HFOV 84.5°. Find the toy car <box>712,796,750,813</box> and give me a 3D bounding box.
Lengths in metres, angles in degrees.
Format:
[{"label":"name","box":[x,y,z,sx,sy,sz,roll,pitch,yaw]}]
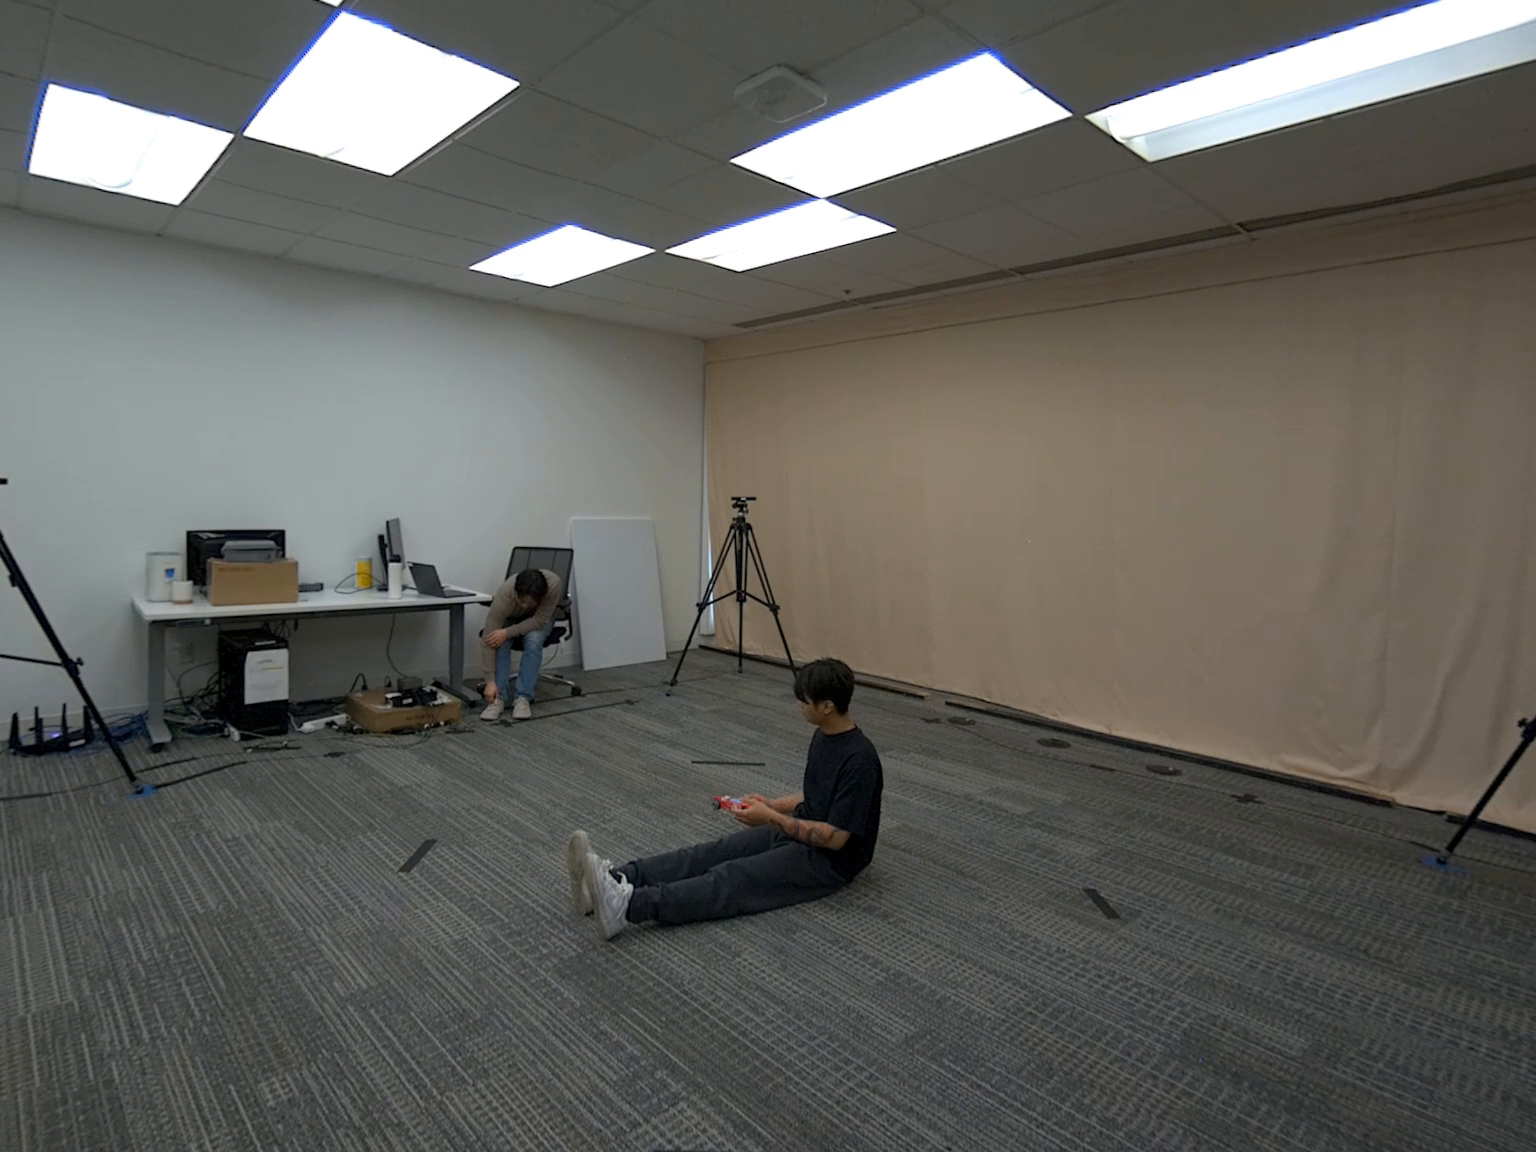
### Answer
[{"label":"toy car","box":[-0.102,0.925,3.368,0.259,0.084,0.126,-8,-18,35]}]
